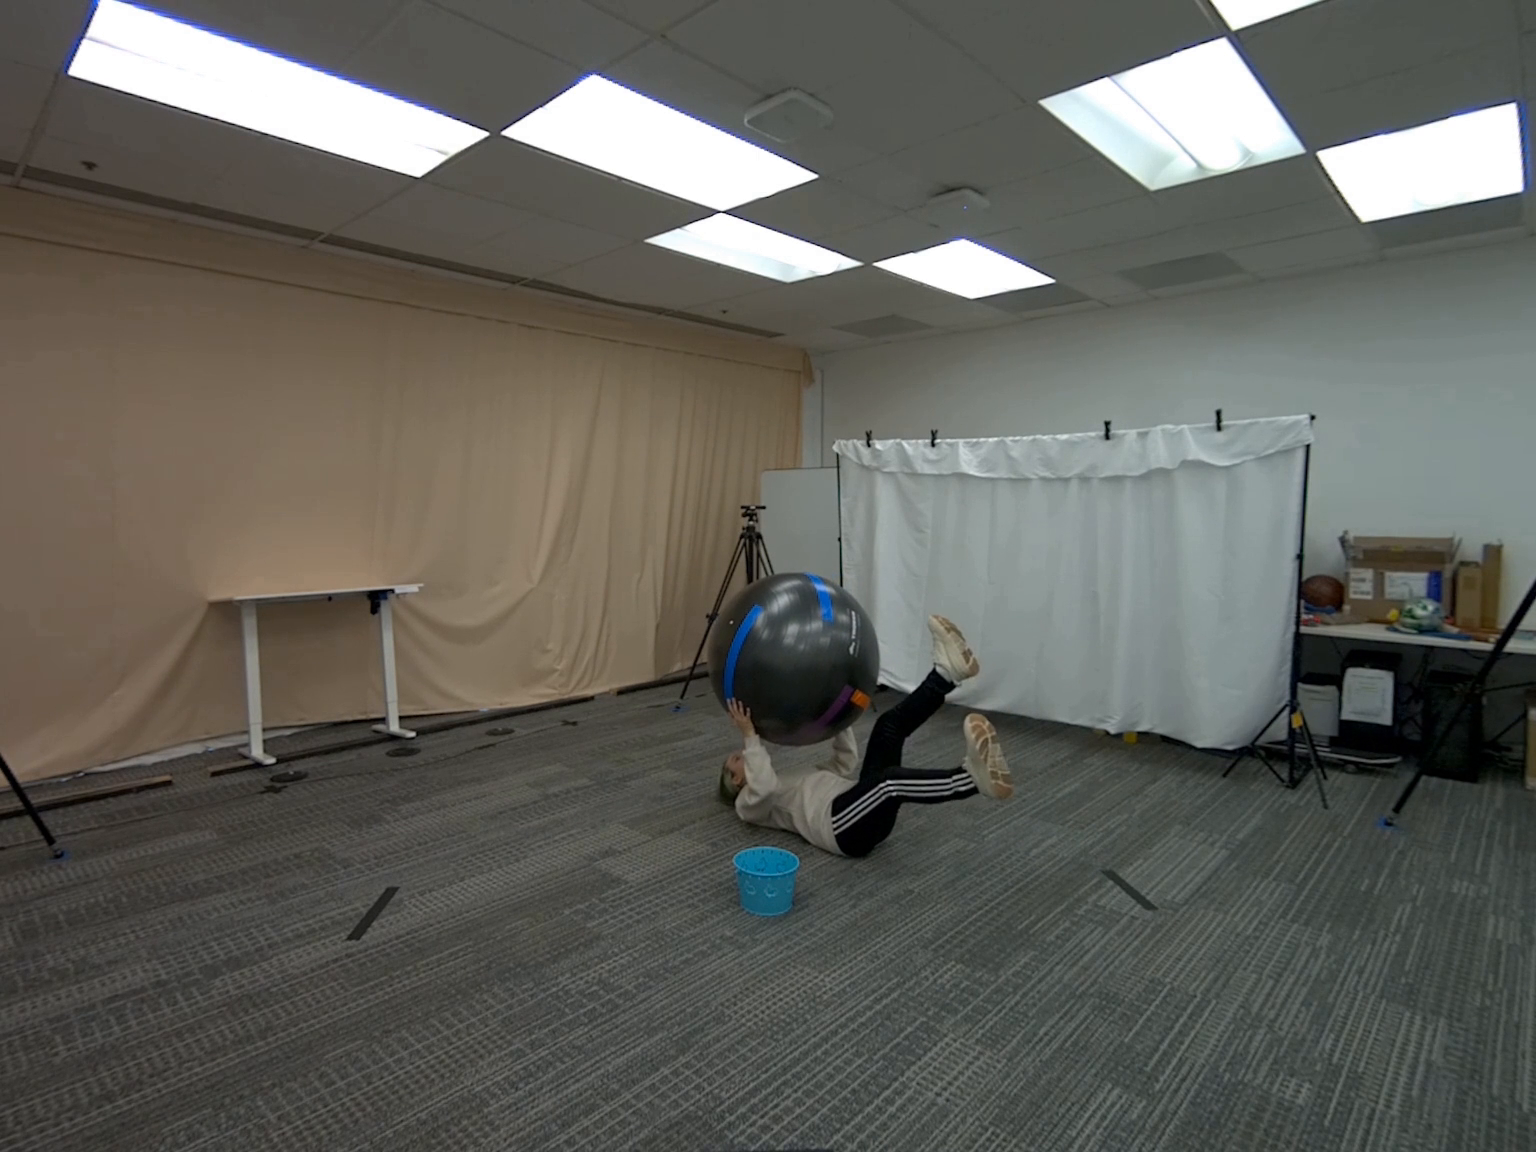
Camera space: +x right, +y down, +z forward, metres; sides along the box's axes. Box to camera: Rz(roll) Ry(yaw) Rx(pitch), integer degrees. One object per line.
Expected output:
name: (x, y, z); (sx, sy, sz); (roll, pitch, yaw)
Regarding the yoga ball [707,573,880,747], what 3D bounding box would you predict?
yoga ball: (0.112, 0.363, 3.722); (0.757, 0.756, 0.760); (0, 4, -2)
